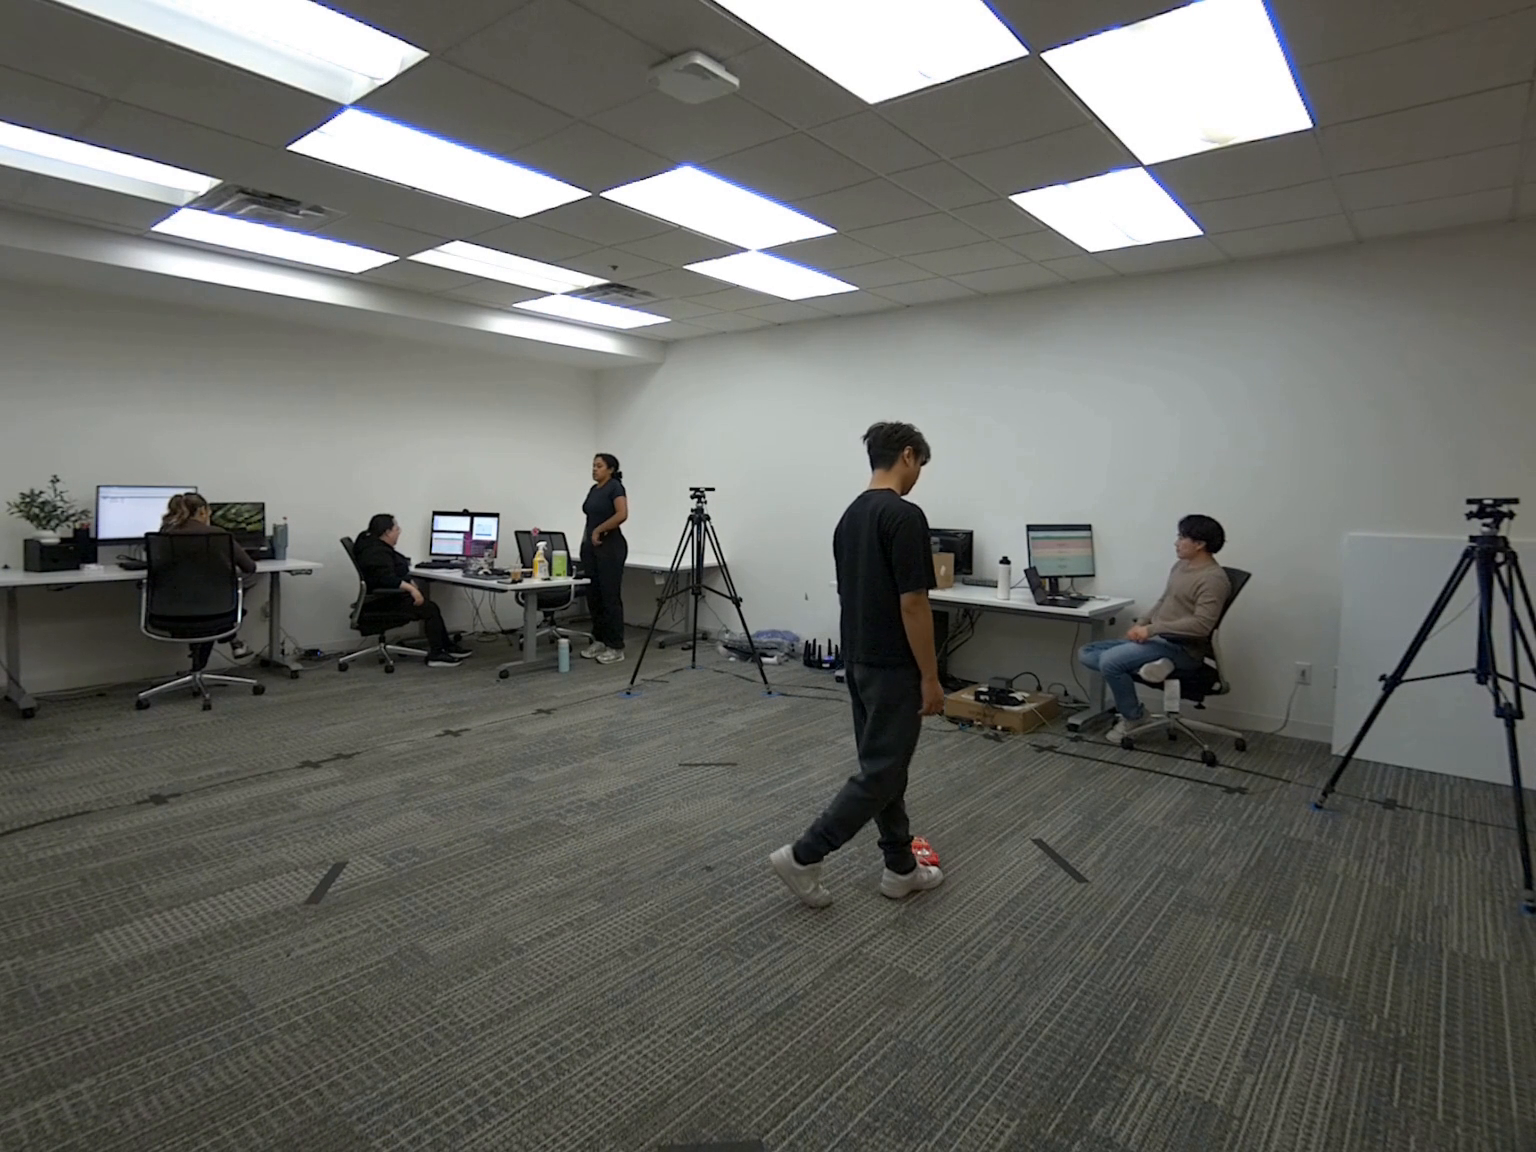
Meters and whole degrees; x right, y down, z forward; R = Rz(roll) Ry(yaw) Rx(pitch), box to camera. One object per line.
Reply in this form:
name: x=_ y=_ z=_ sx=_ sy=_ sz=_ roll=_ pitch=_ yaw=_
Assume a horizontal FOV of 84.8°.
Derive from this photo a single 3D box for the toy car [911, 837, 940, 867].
toy car: x=0.561 y=1.036 z=3.210 sx=0.129 sy=0.084 sz=0.254 roll=2 pitch=-5 yaw=-6
